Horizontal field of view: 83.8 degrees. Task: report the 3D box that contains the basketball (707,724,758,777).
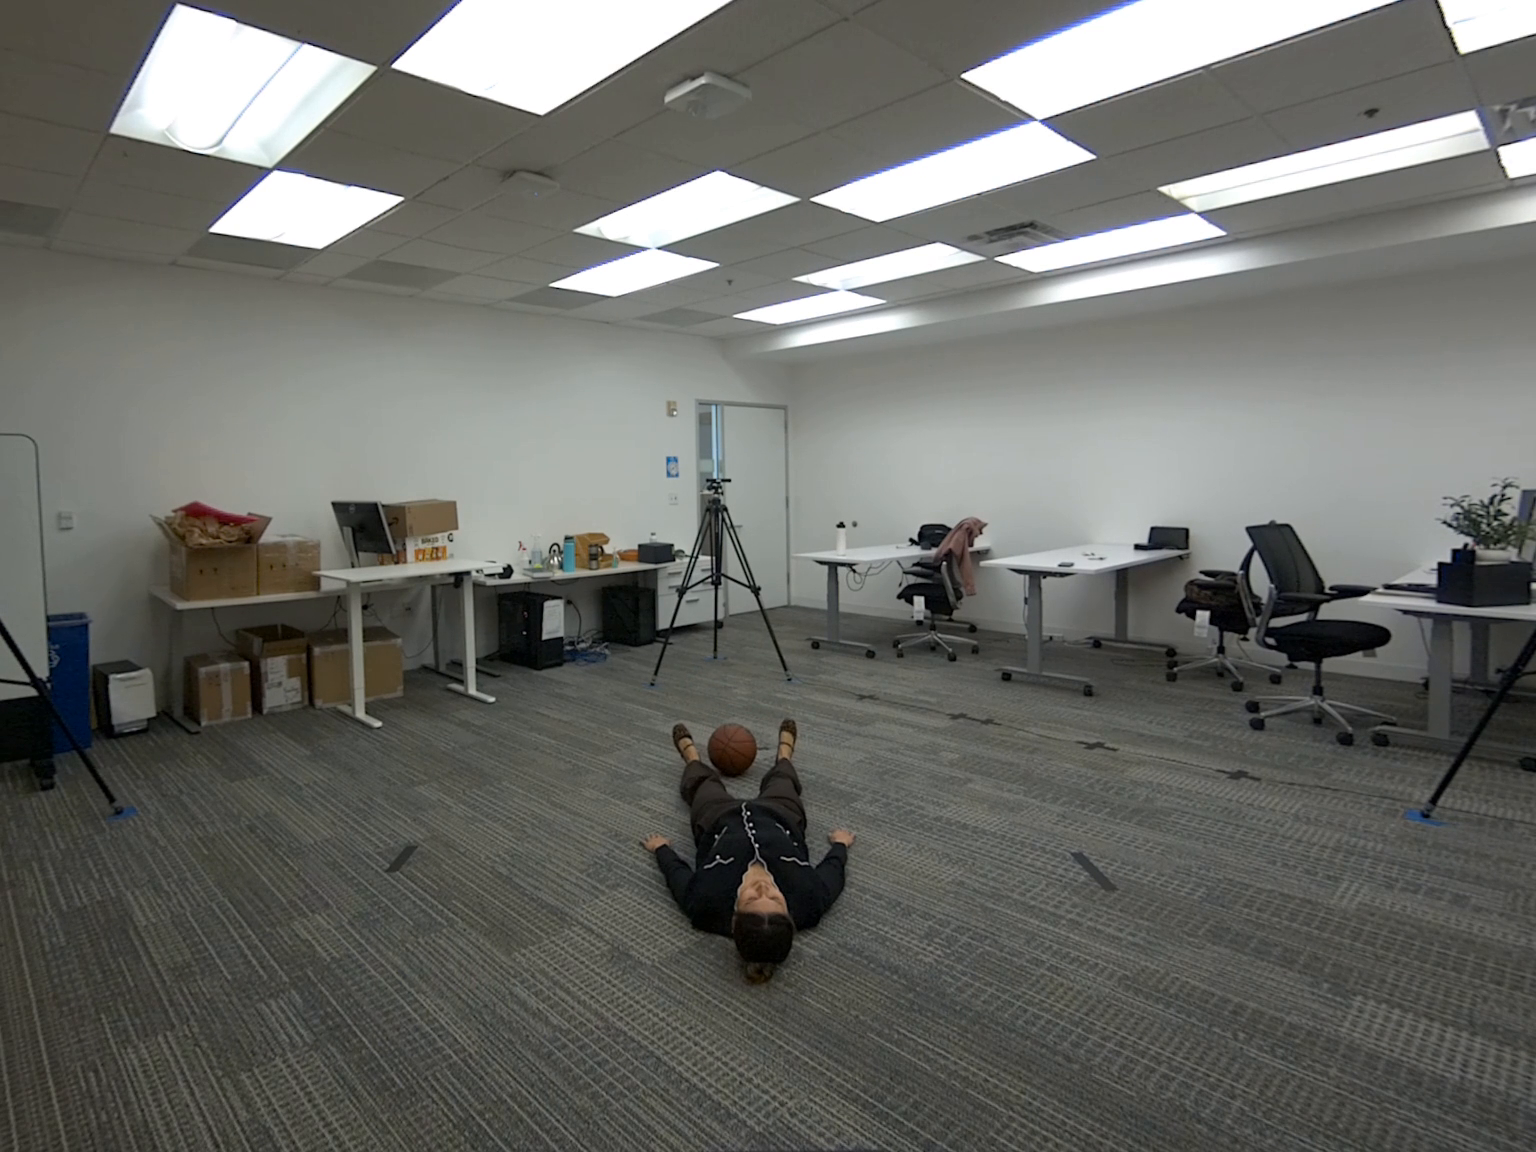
[{"bbox_3d":[-0.168,0.825,4.069,0.236,0.235,0.237,-4,4,-1],"label":"basketball"}]
